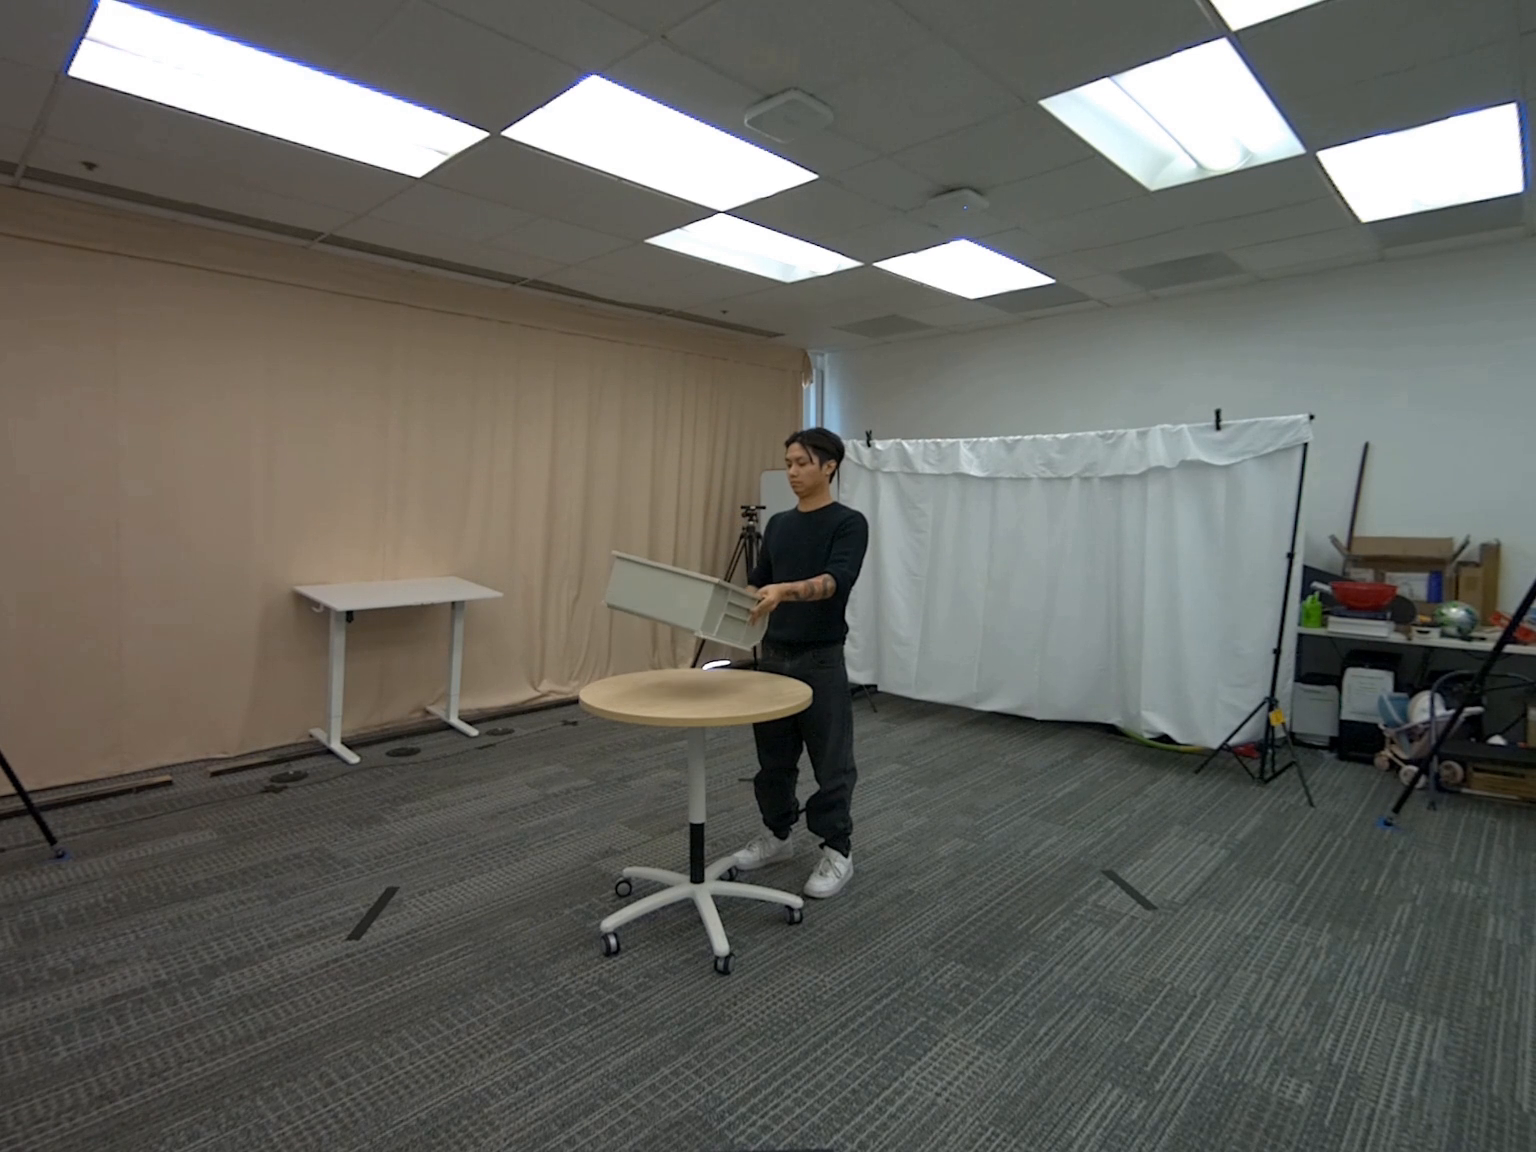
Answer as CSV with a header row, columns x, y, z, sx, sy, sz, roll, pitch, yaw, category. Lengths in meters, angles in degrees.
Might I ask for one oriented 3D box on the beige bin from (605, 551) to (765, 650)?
x,y,z,sx,sy,sz,roll,pitch,yaw,category
-0.265,0.085,2.731,0.436,0.189,0.365,15,-4,31,beige bin
